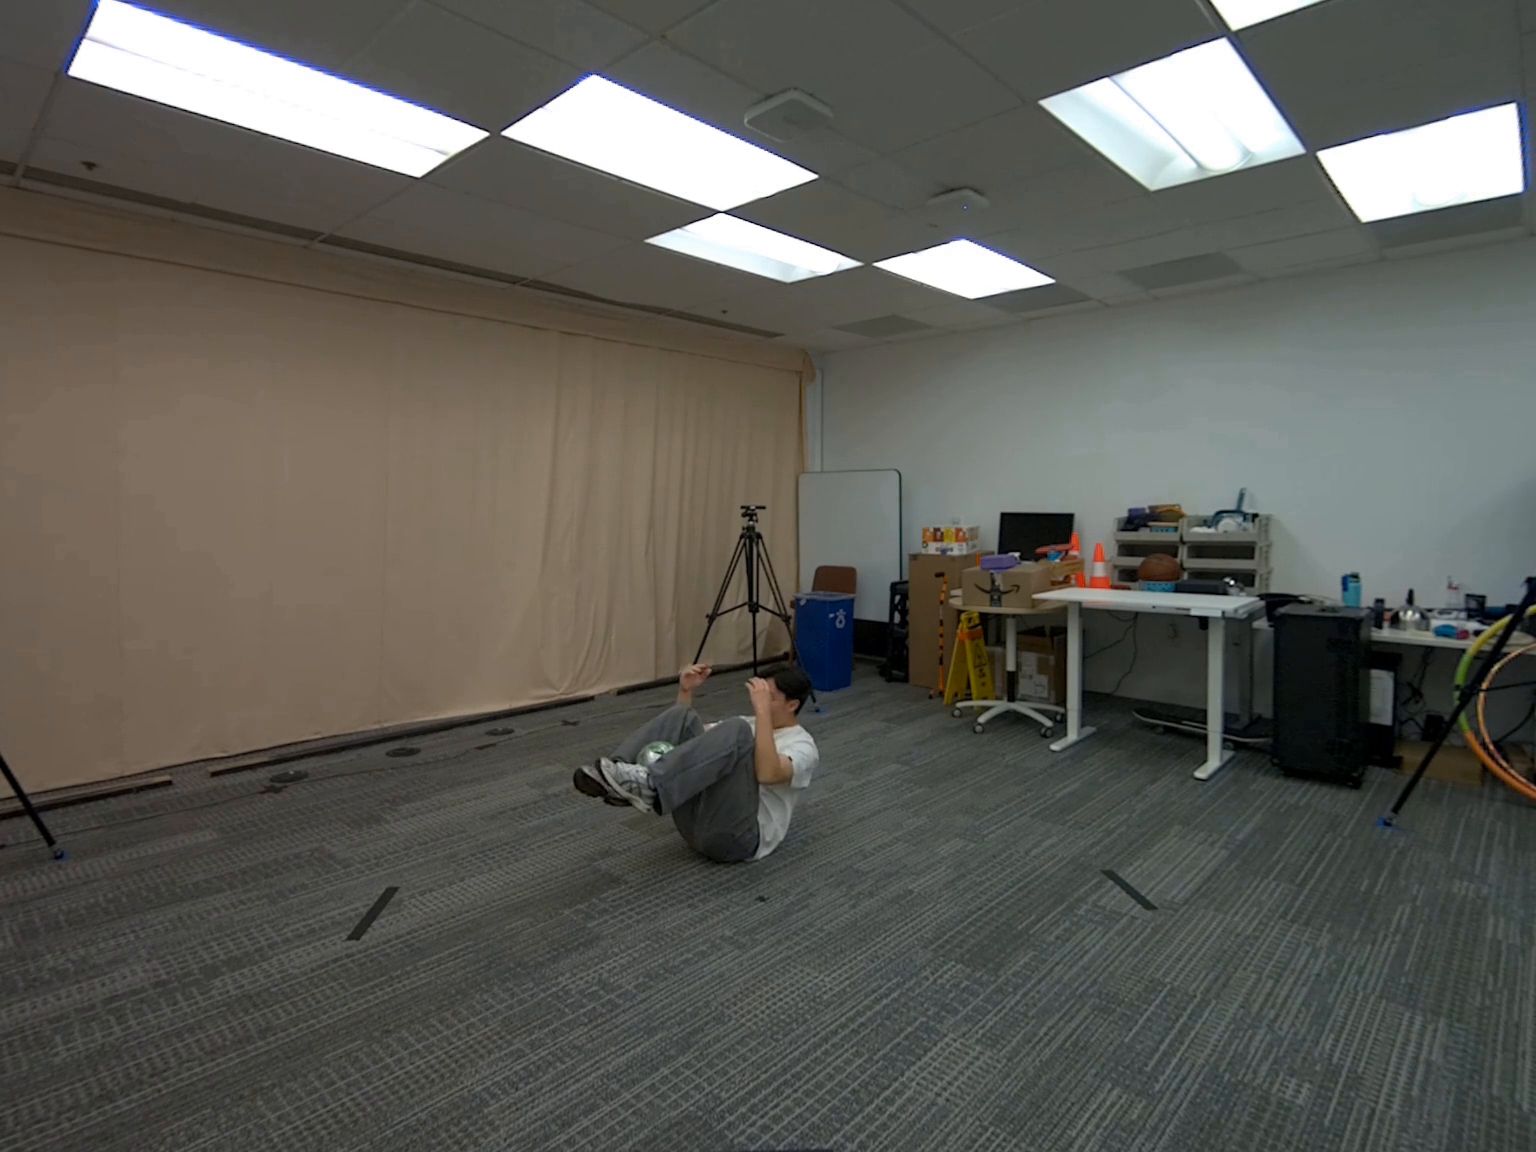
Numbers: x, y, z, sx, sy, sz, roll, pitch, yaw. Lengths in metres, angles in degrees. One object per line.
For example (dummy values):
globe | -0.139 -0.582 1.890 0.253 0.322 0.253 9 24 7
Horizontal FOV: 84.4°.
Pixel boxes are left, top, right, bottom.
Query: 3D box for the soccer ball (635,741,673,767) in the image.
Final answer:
soccer ball | -0.405 0.719 3.187 0.187 0.187 0.188 0 4 -2
